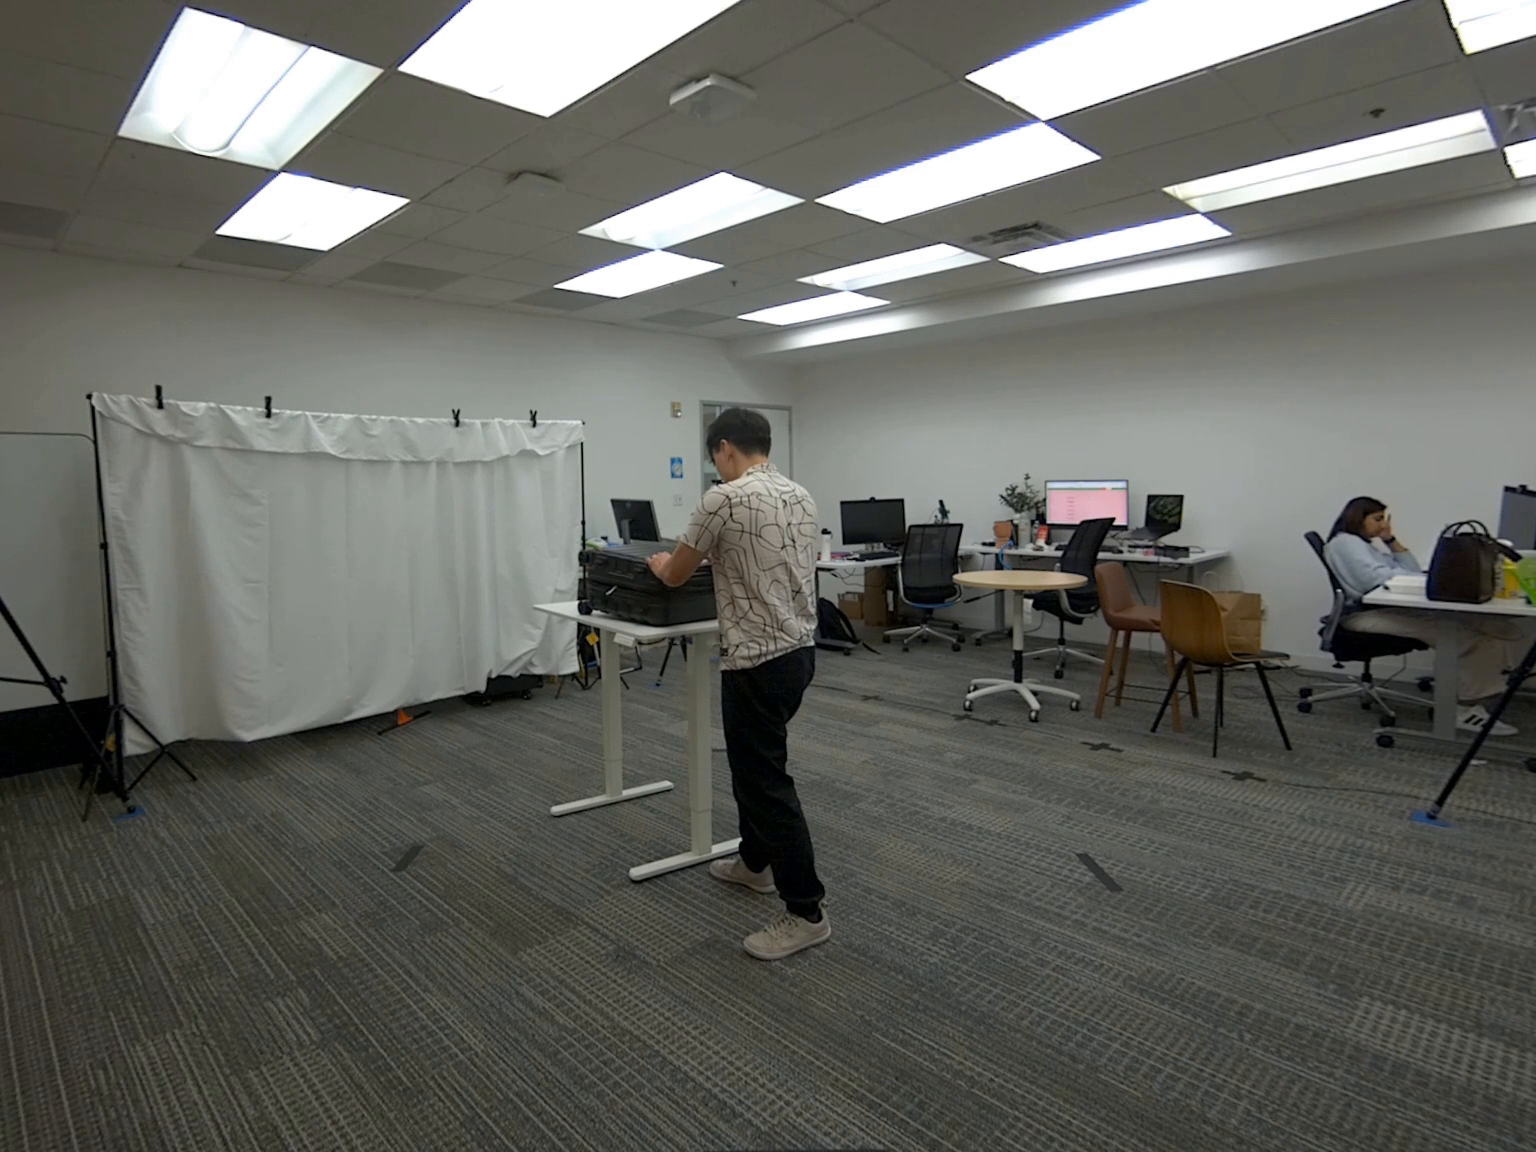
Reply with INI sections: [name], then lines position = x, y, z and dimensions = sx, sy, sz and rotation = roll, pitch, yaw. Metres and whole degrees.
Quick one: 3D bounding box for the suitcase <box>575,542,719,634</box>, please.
[suitcase]
position = -0.422, 0.027, 3.247
dimensions = 0.366, 0.247, 0.567
rotation = -6, 10, -42
